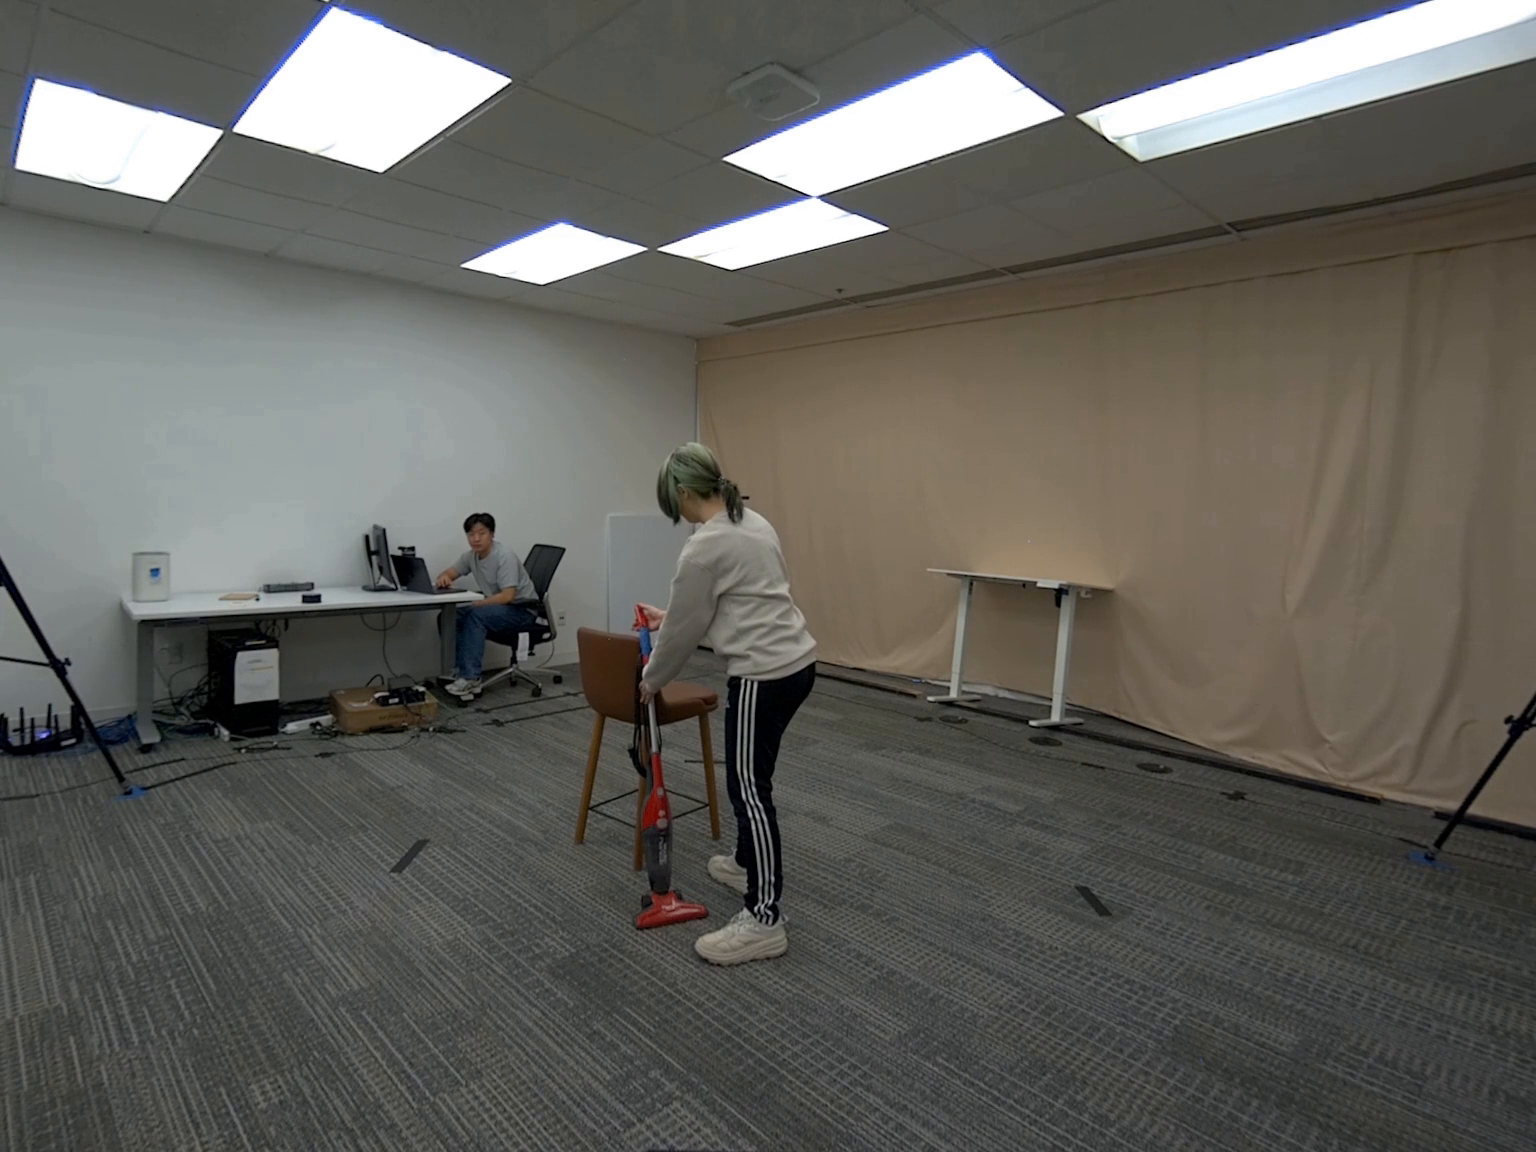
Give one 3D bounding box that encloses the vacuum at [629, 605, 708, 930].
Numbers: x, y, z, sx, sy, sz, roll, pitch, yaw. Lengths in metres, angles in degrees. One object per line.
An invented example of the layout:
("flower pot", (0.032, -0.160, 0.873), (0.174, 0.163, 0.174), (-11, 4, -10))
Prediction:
("vacuum", (-0.422, 0.626, 2.951), (0.247, 1.063, 0.145), (1, -18, -30))
